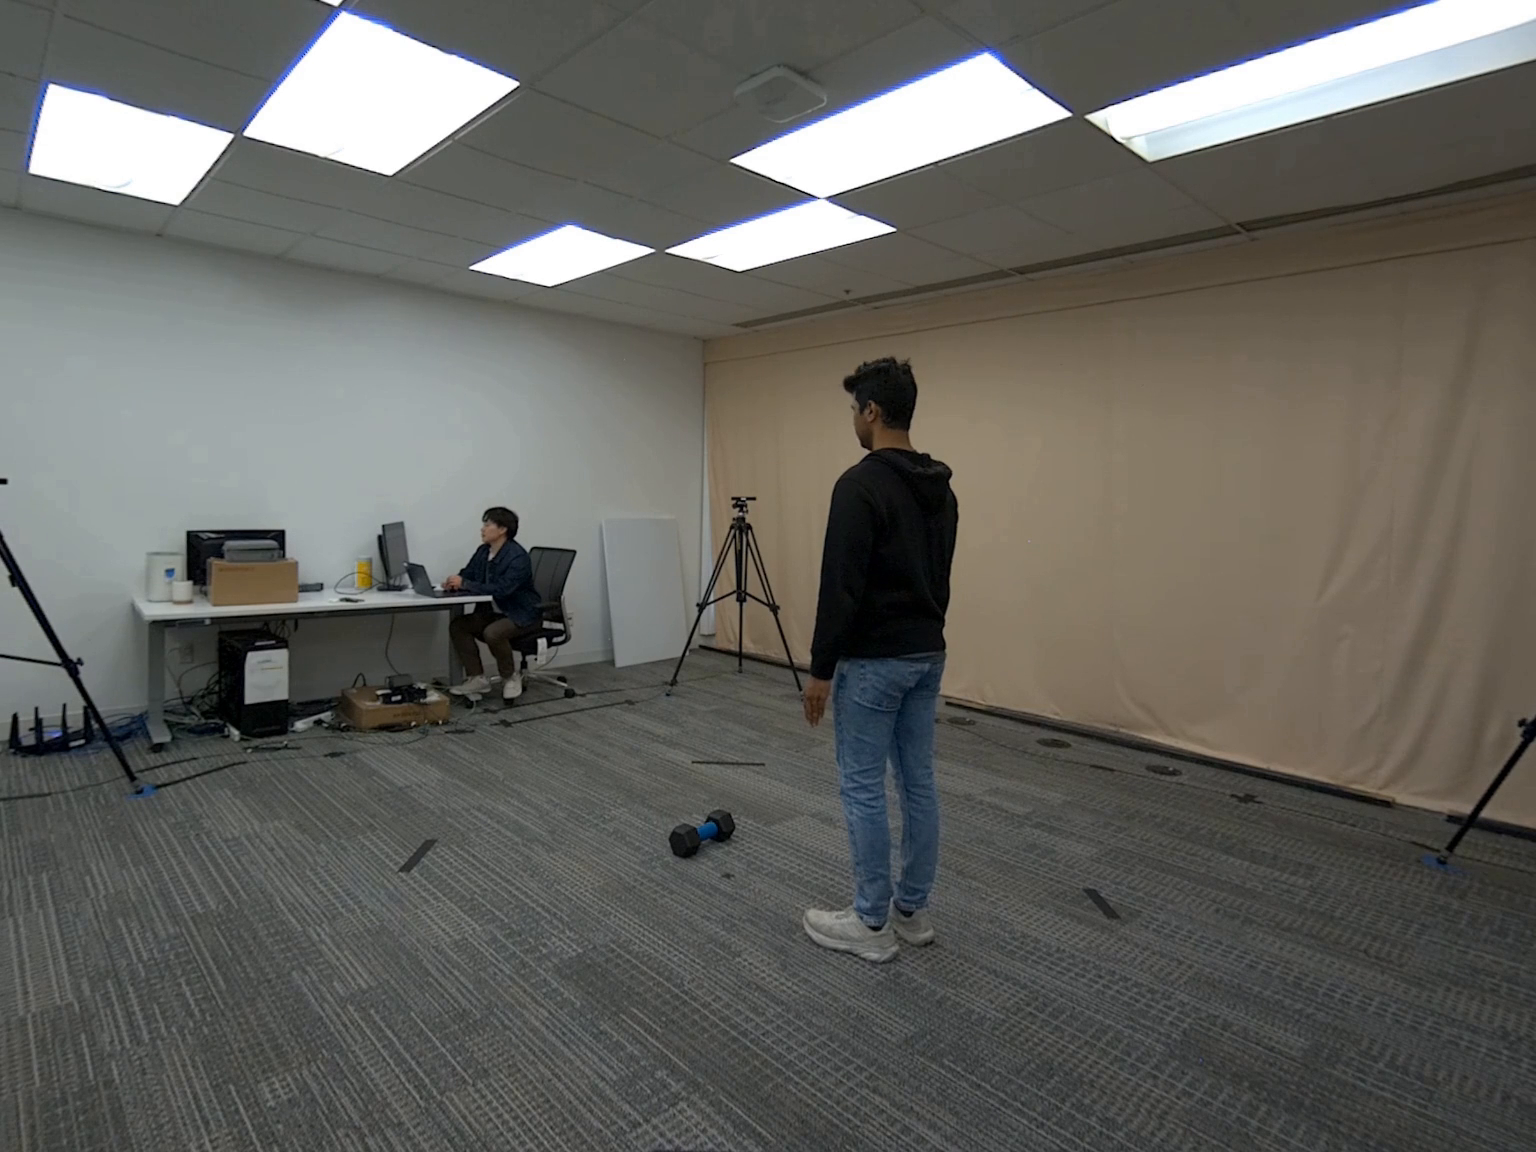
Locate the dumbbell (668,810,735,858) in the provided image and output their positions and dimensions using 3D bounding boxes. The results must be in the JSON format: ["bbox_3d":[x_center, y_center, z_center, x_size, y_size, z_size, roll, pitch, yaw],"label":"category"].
[{"bbox_3d":[-0.271,1.026,3.359,0.112,0.122,0.287,40,26,29],"label":"dumbbell"}]
